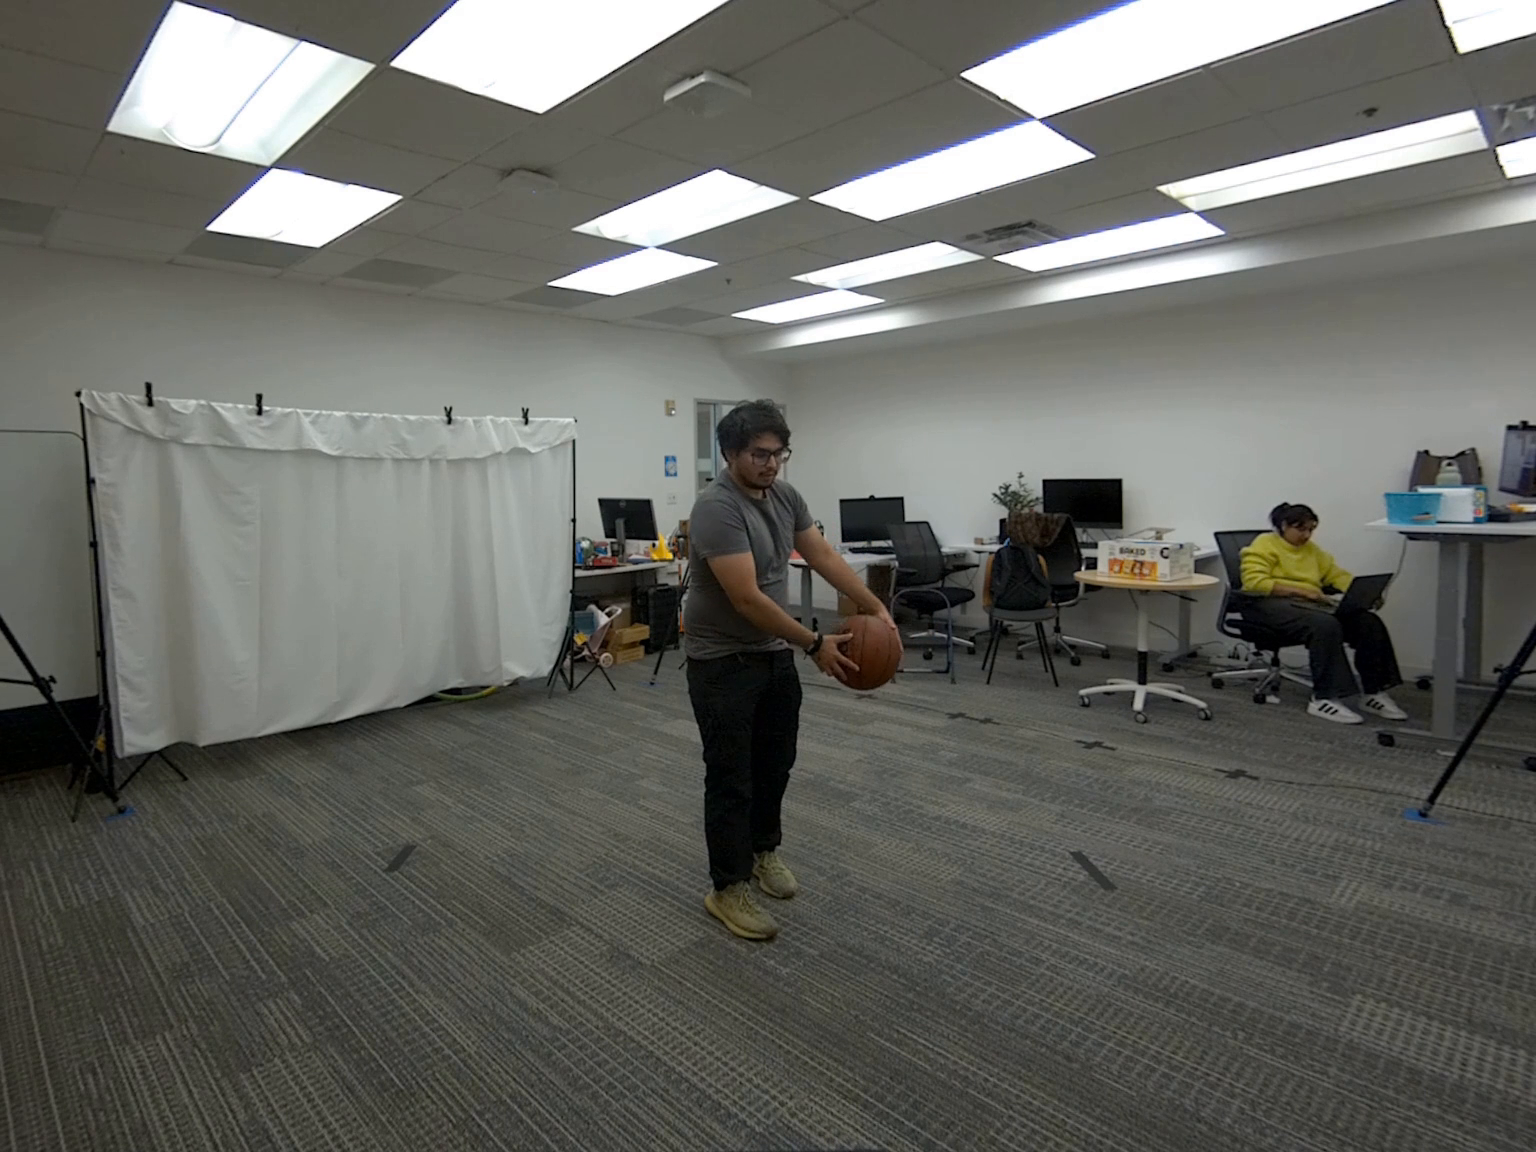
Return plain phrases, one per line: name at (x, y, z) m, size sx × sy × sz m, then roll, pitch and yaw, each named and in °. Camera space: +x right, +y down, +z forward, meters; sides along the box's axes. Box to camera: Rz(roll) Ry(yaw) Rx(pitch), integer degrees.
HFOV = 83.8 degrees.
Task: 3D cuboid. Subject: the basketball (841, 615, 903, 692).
basketball at (0.299, 0.242, 2.716) m, size 0.236 × 0.235 × 0.237 m, roll -1°, pitch 5°, yaw -2°
